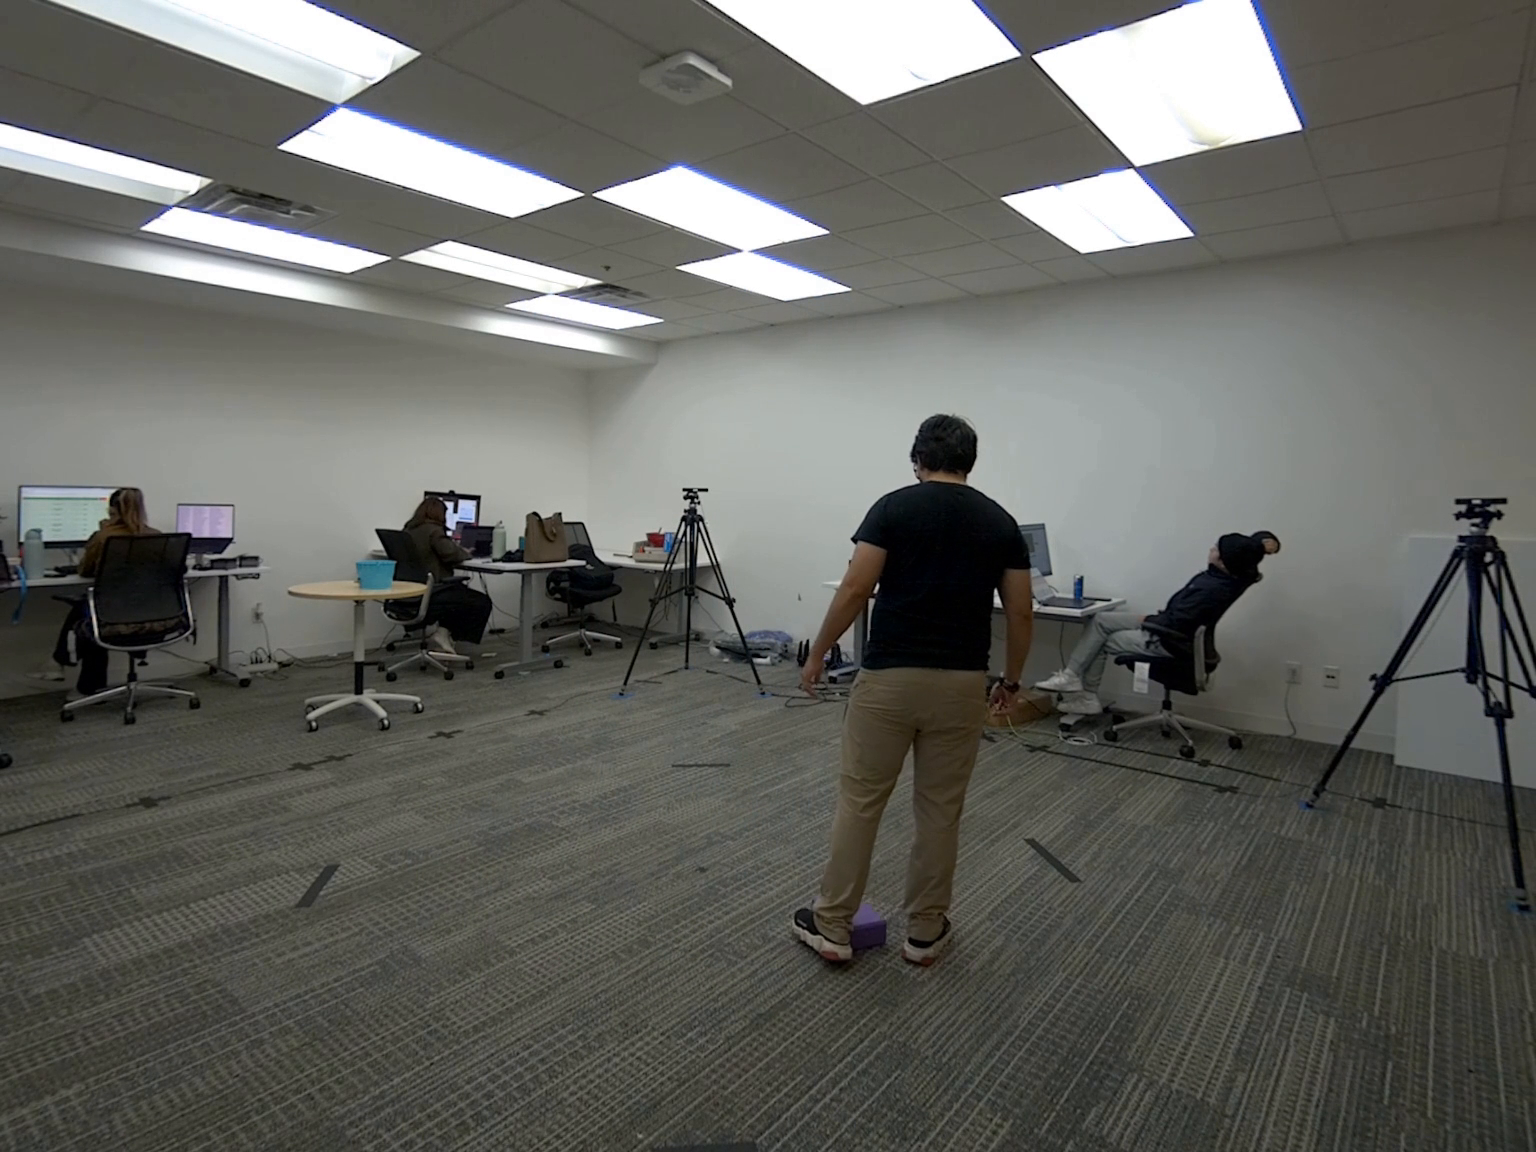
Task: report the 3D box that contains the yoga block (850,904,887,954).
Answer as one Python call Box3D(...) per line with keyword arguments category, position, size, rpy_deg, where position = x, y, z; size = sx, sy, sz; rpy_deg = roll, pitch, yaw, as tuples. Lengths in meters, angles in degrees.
Box3D(category="yoga block", position=(0.248, 1.079, 2.692), size=(0.145, 0.076, 0.235), rpy_deg=(0, 5, -25))
